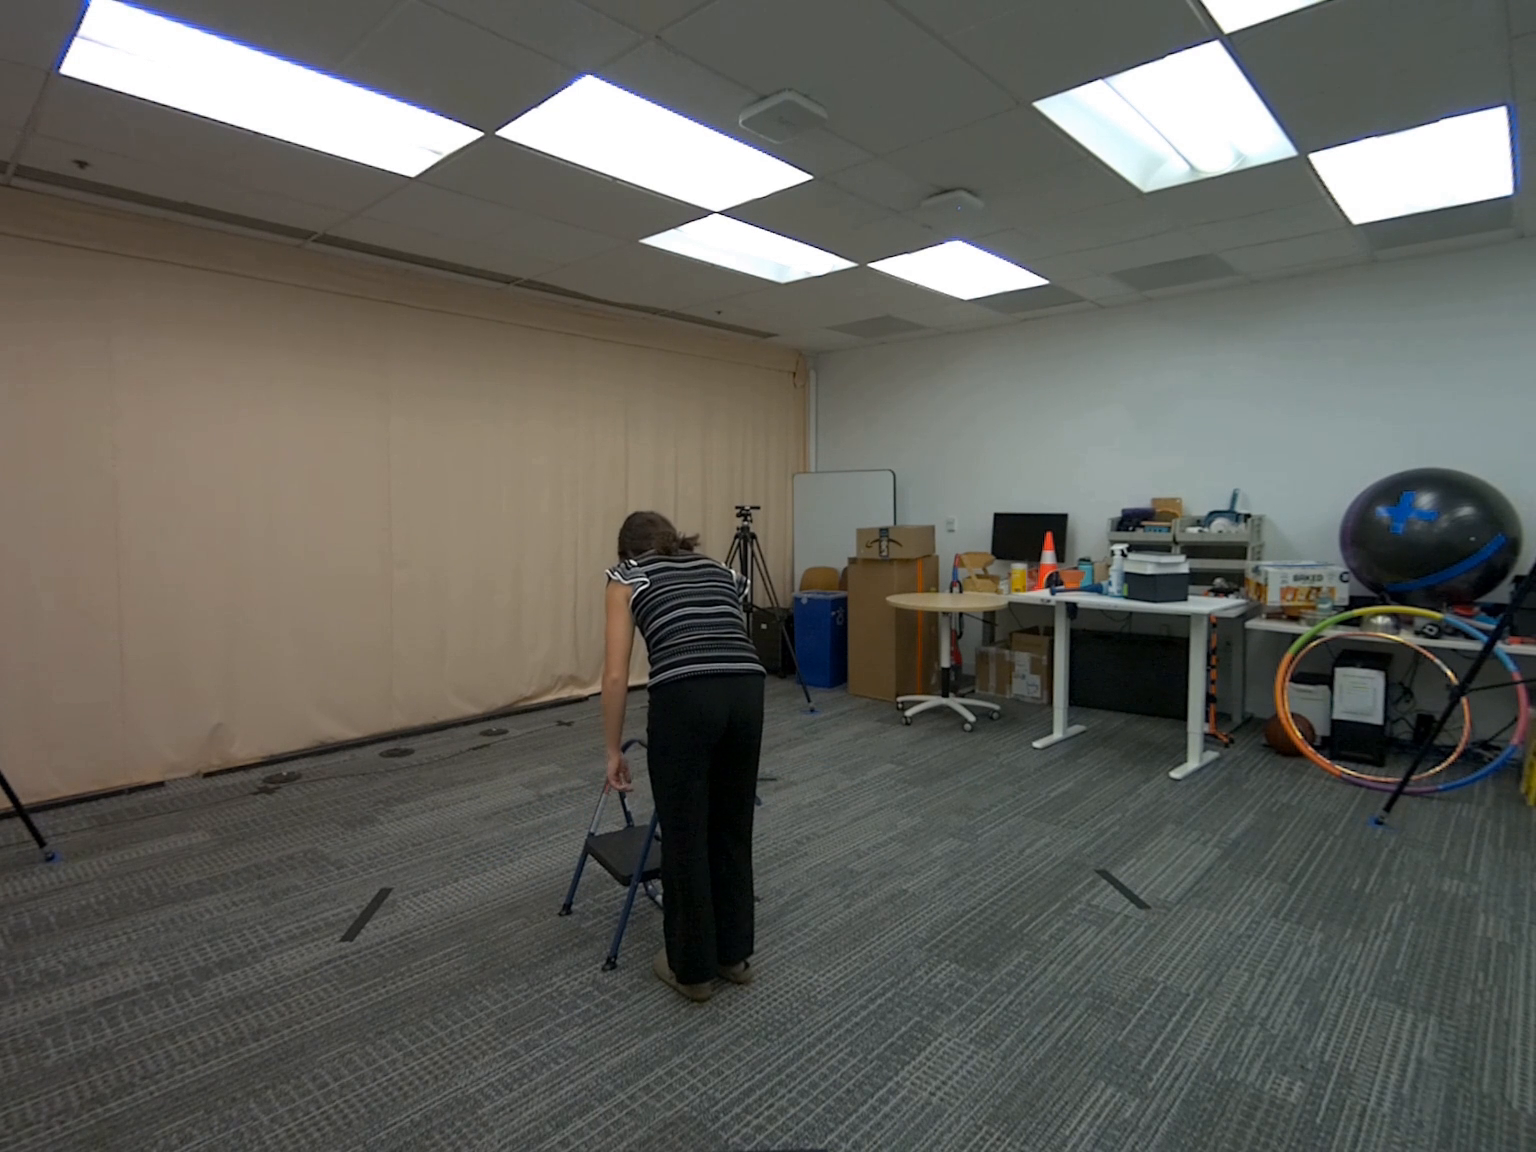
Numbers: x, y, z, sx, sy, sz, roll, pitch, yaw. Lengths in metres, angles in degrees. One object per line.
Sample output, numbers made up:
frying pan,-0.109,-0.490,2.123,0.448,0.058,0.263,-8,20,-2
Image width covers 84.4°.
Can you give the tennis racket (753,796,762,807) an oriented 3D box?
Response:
tennis racket,-0.107,0.680,2.830,0.217,0.031,0.428,41,-22,13
